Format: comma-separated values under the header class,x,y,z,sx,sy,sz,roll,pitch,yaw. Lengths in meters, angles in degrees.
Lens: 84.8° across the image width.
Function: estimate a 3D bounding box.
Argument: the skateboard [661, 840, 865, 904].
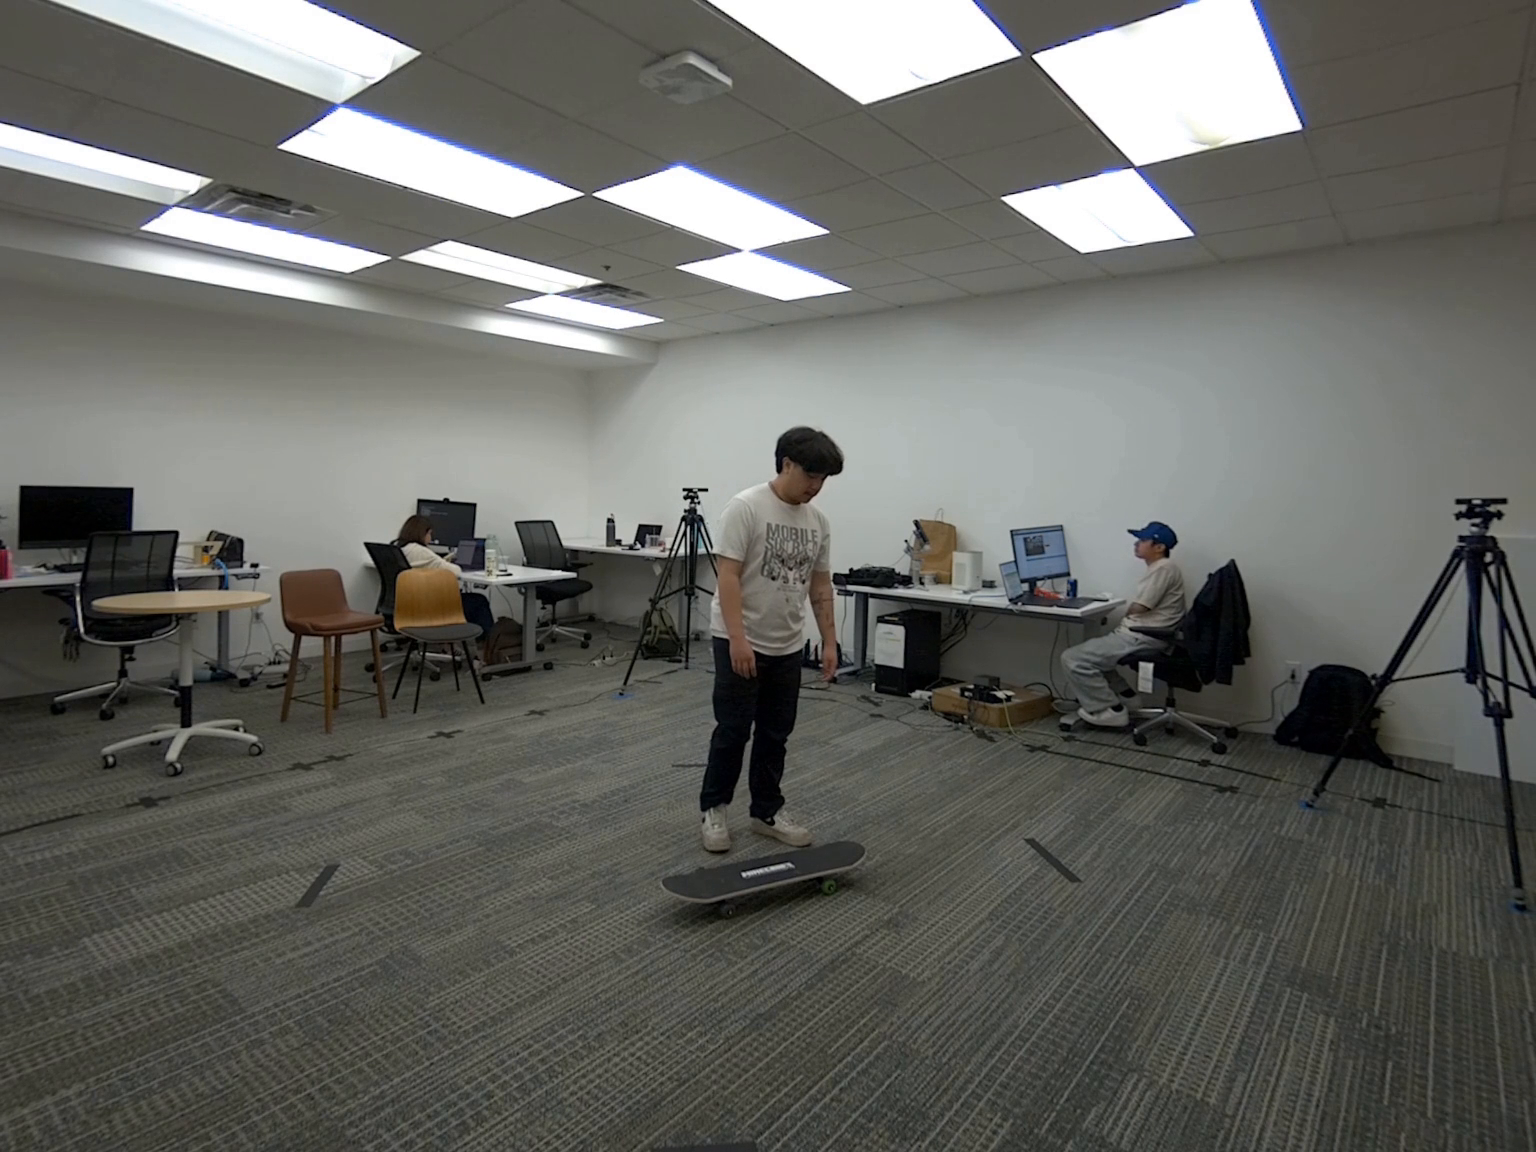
class,x,y,z,sx,sy,sz,roll,pitch,yaw
skateboard,-0.005,1.036,2.916,0.765,0.110,0.199,-2,6,-28
